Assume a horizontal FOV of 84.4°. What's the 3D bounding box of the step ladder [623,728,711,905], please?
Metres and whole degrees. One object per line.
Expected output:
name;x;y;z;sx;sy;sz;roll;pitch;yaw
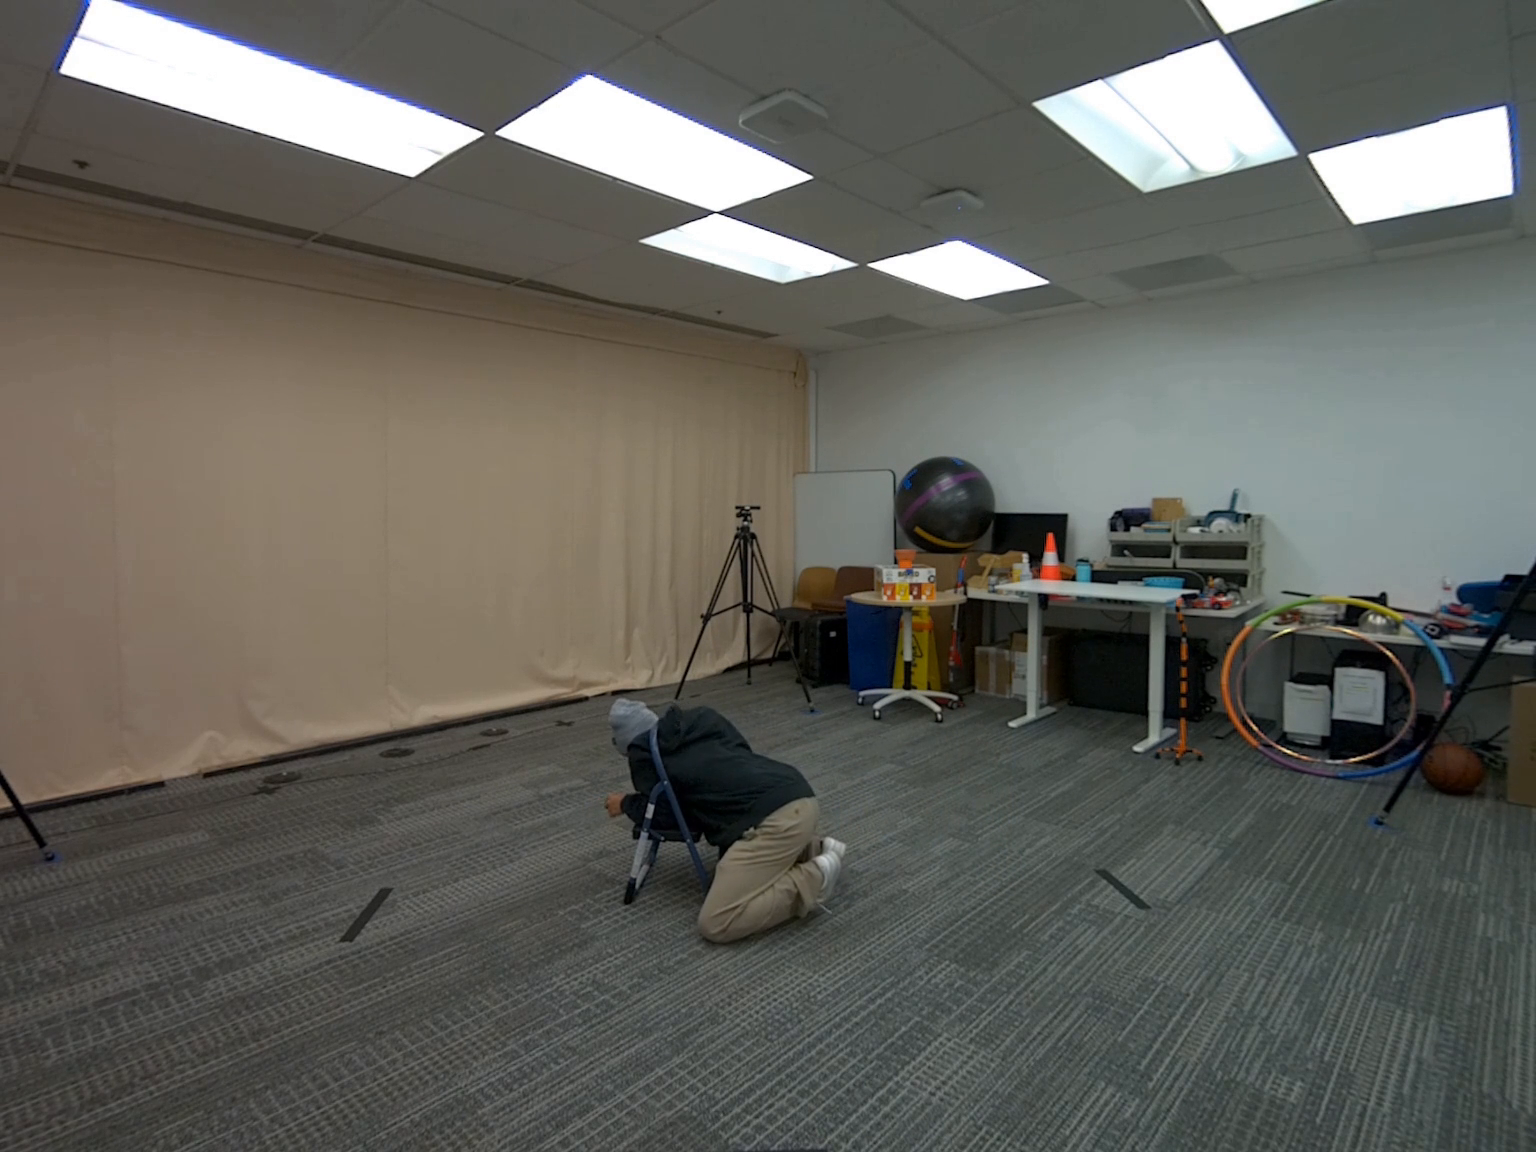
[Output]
step ladder;-0.326;0.842;3.113;0.351;0.606;0.428;0;0;4
